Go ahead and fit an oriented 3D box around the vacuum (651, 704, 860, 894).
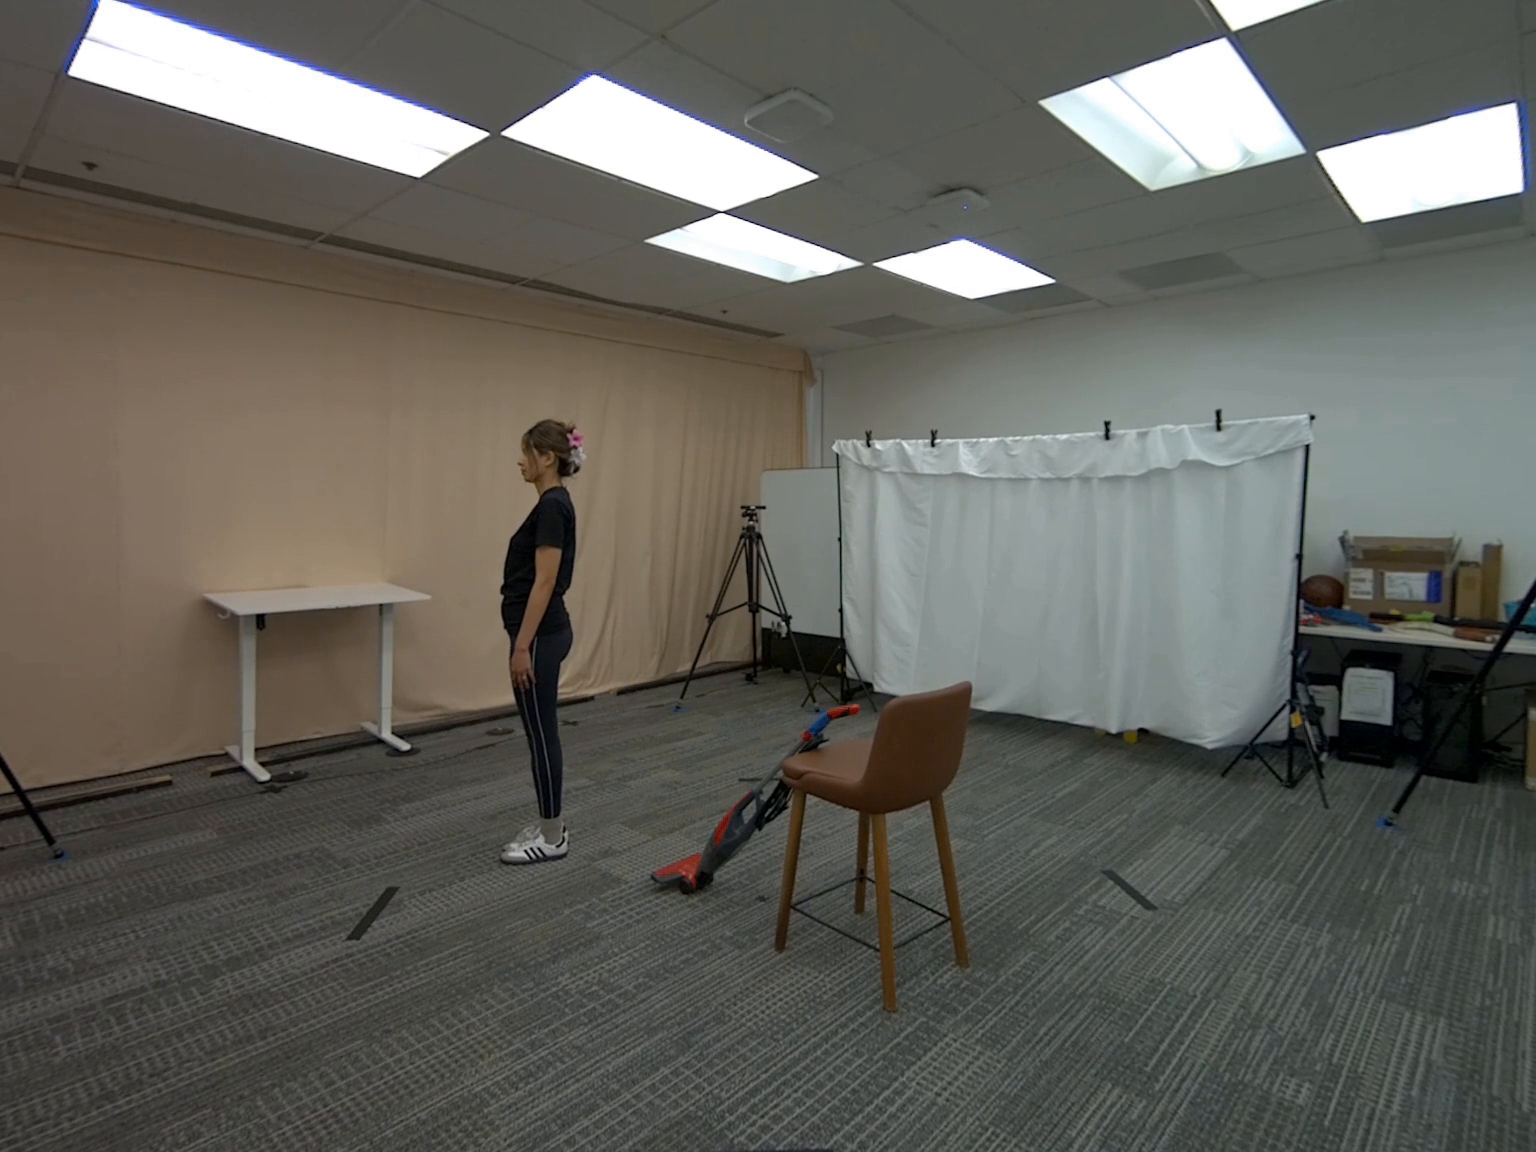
[{"bbox_3d":[-0.025,0.762,2.841,0.245,0.147,1.053,-8,-36,-51],"label":"vacuum"}]
